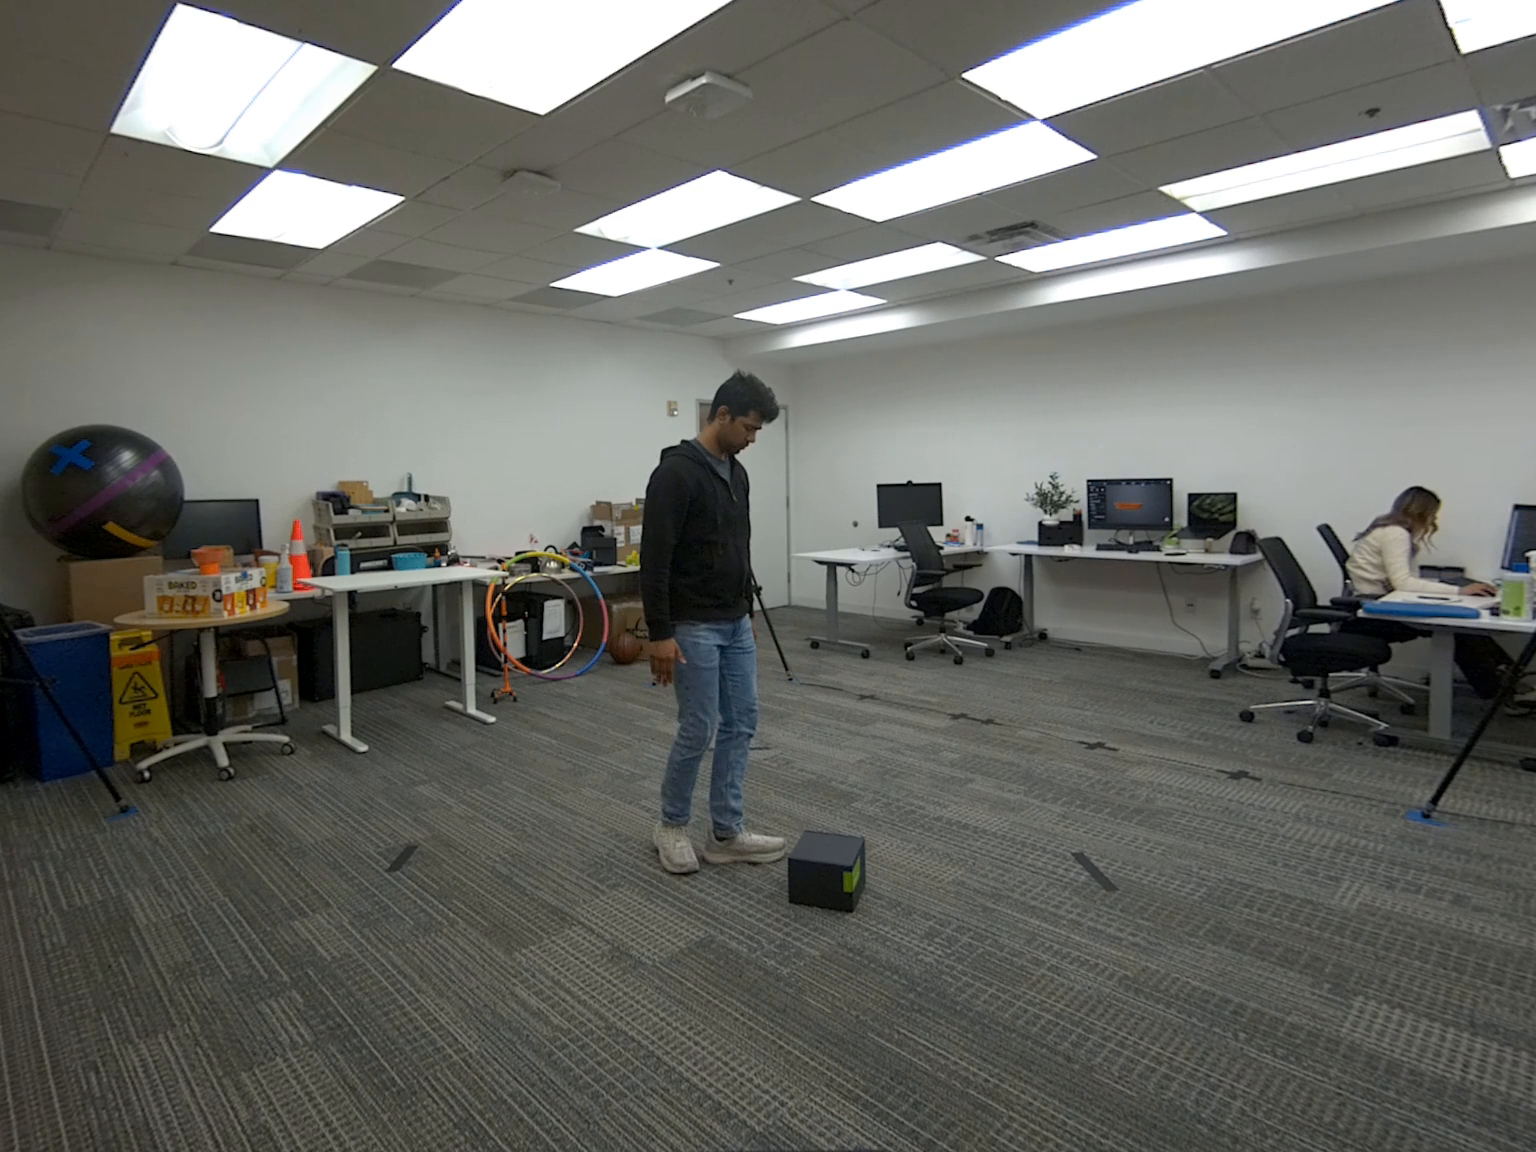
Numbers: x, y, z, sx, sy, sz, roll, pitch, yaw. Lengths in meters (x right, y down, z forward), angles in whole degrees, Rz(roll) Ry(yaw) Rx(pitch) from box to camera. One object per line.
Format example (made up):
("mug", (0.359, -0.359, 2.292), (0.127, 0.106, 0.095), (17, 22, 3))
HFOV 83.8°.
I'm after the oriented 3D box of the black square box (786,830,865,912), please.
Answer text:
("black square box", (0.206, 0.982, 2.869), (0.221, 0.155, 0.225), (1, 6, 18))
